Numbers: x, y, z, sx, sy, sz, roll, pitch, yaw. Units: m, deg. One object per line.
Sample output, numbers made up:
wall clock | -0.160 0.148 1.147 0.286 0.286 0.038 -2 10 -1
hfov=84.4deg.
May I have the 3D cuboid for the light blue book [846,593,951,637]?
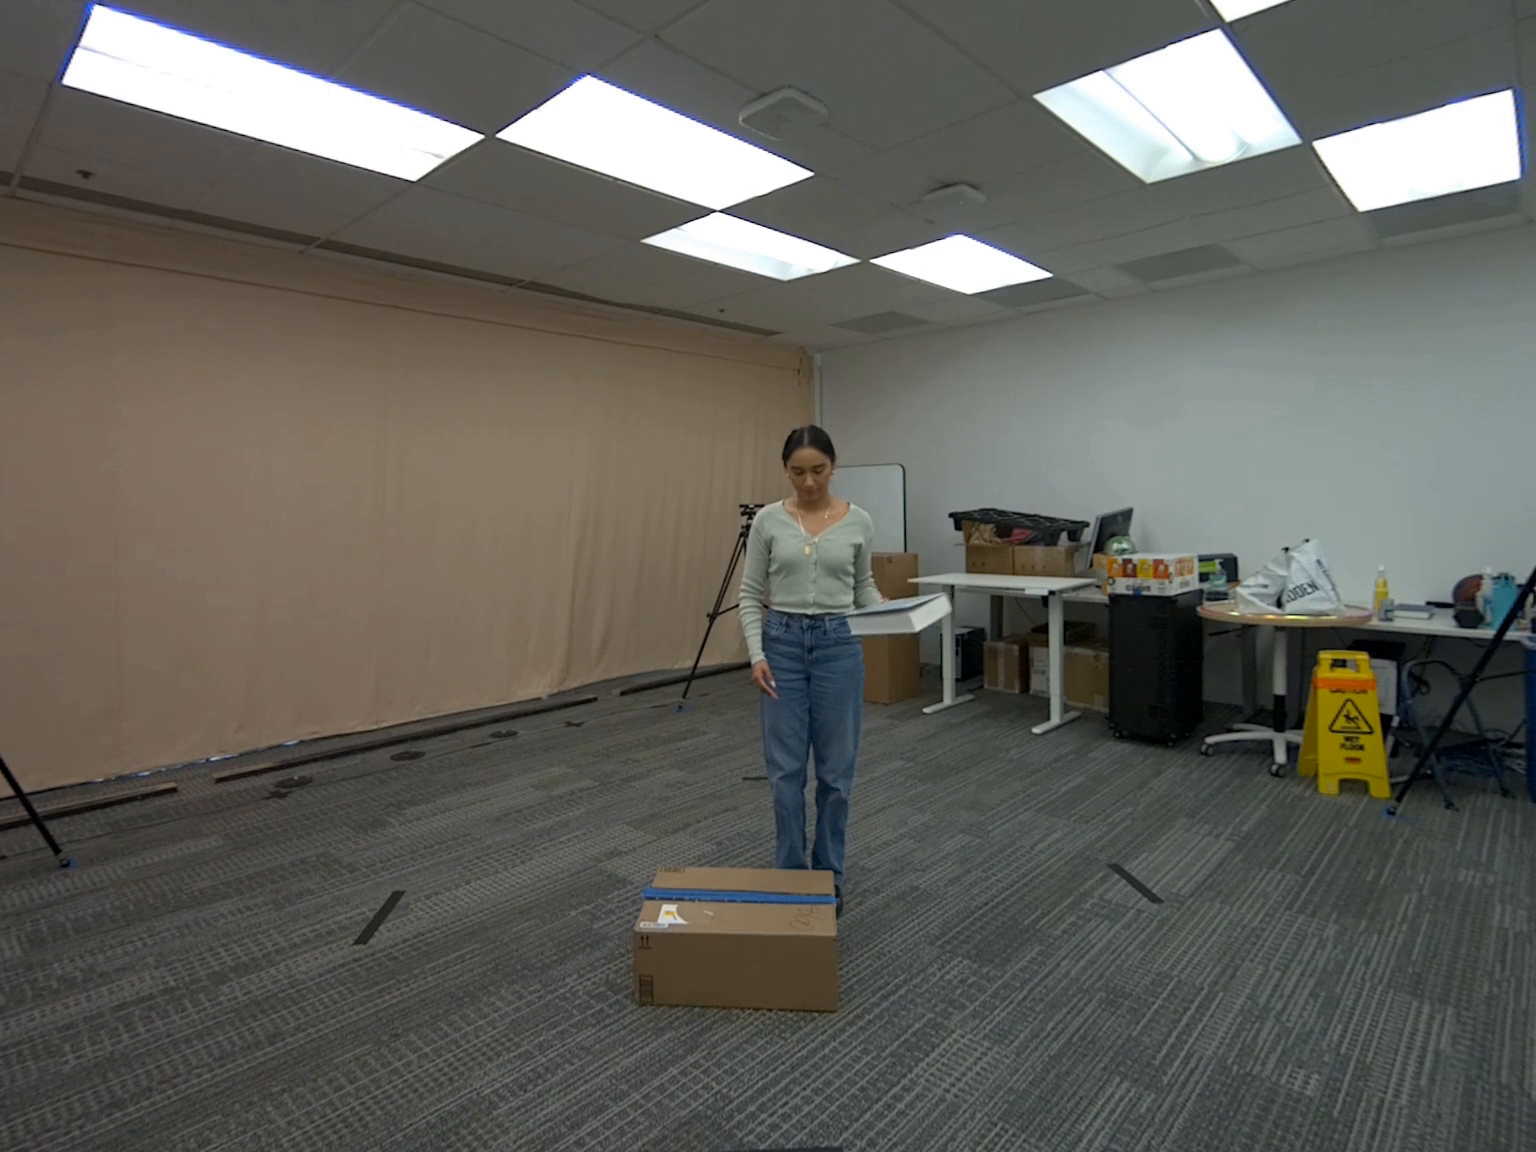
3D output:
light blue book | 0.396 0.116 2.579 0.187 0.059 0.268 -20 6 -39
